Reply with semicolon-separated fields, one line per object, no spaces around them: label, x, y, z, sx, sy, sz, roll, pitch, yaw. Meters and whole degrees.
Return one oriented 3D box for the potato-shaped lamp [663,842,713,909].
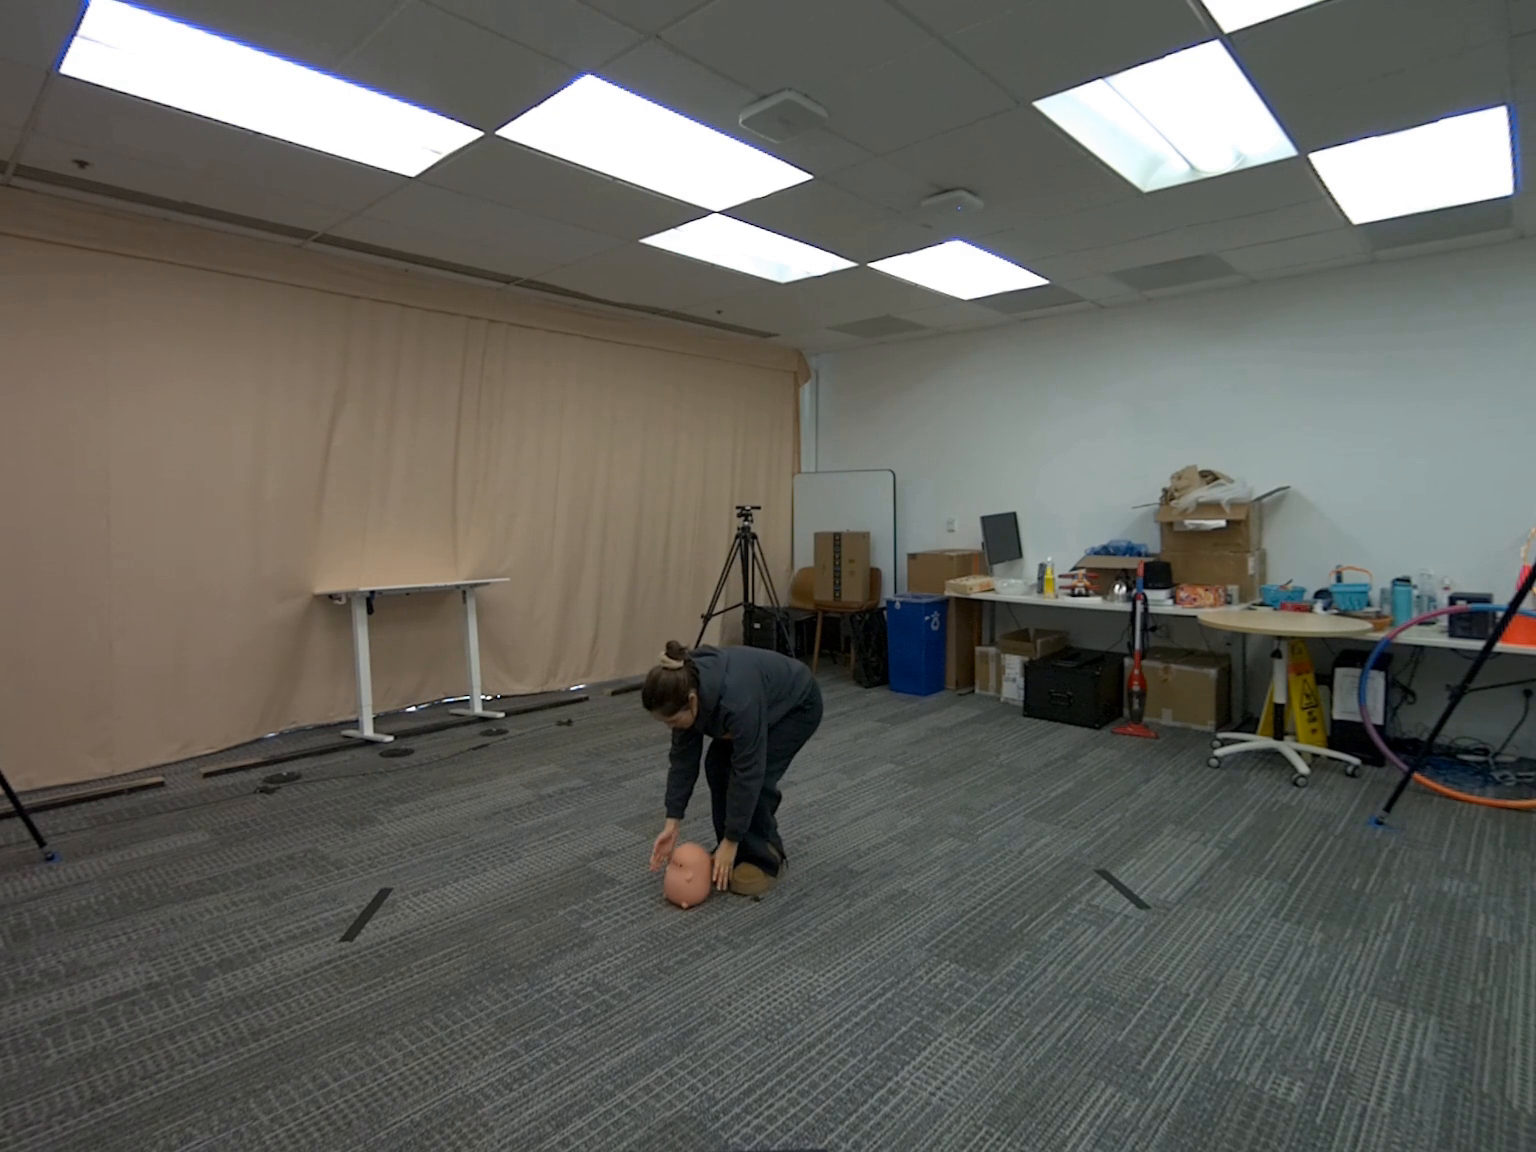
potato-shaped lamp;-0.263;1.066;2.979;0.203;0.160;0.172;-4;41;29
